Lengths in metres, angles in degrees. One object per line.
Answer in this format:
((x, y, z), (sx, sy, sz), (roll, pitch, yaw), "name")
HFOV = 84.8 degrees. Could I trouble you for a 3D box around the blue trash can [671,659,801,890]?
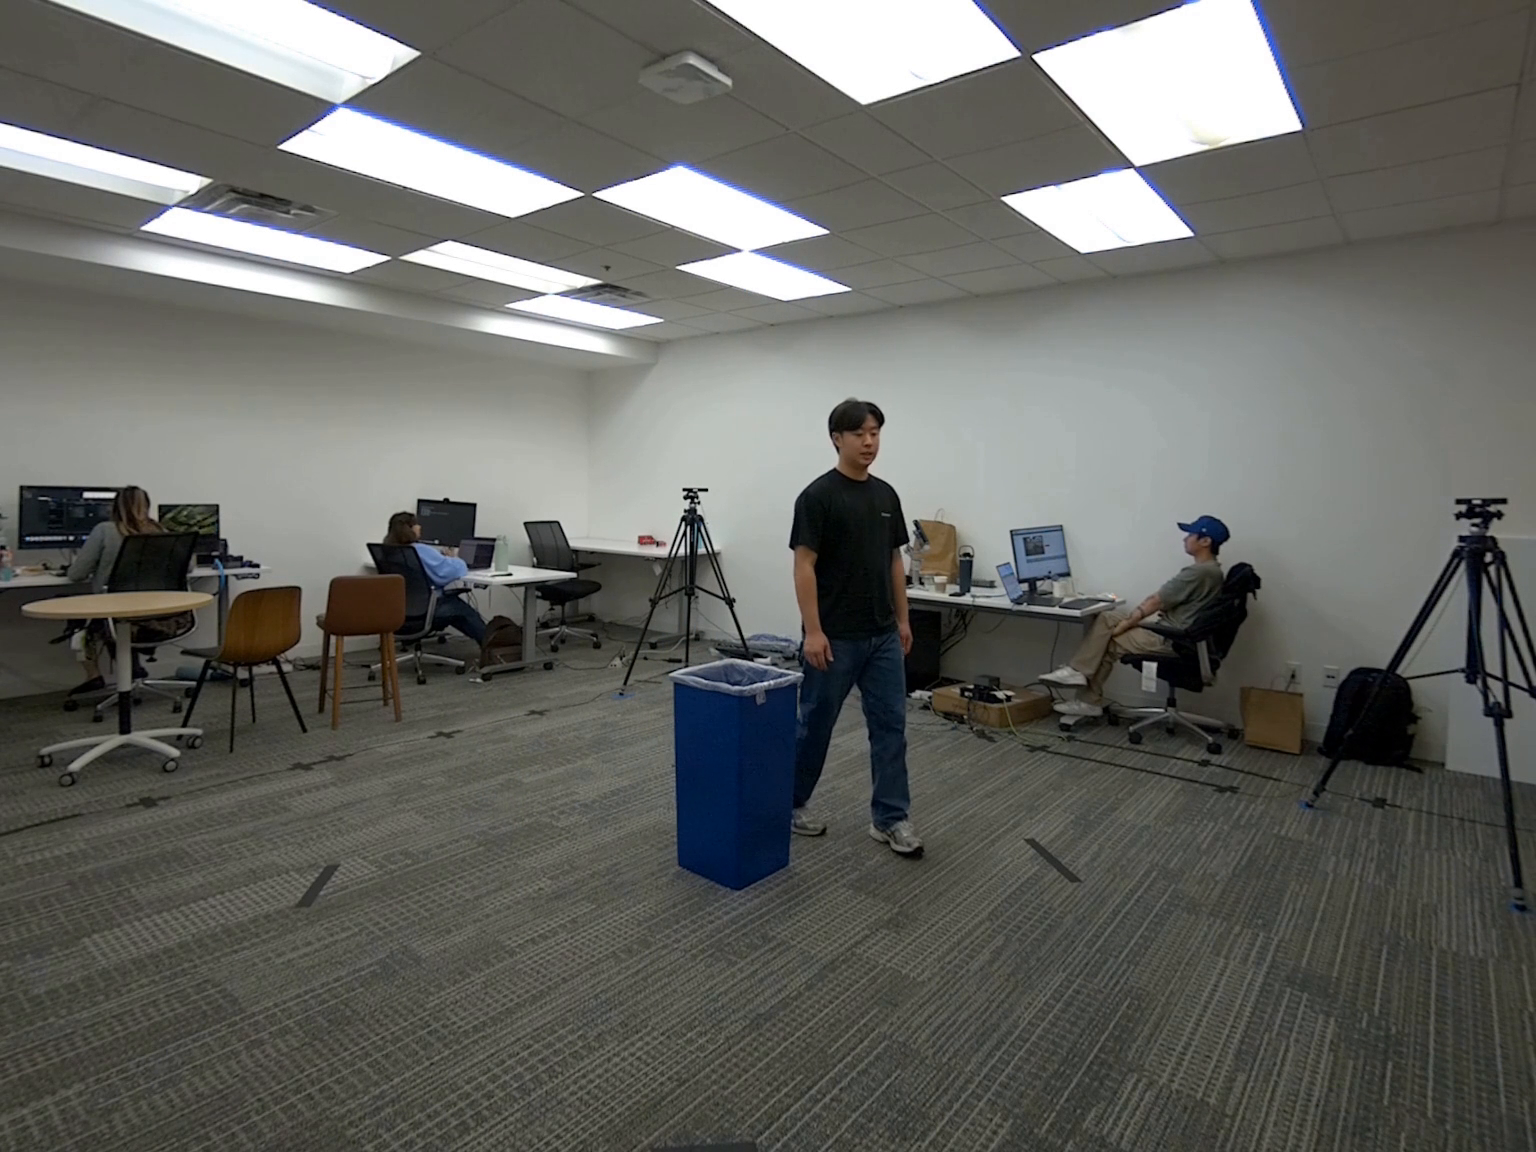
((-0.140, 0.709, 3.136), (0.387, 0.712, 0.366), (4, 4, 41), "blue trash can")
